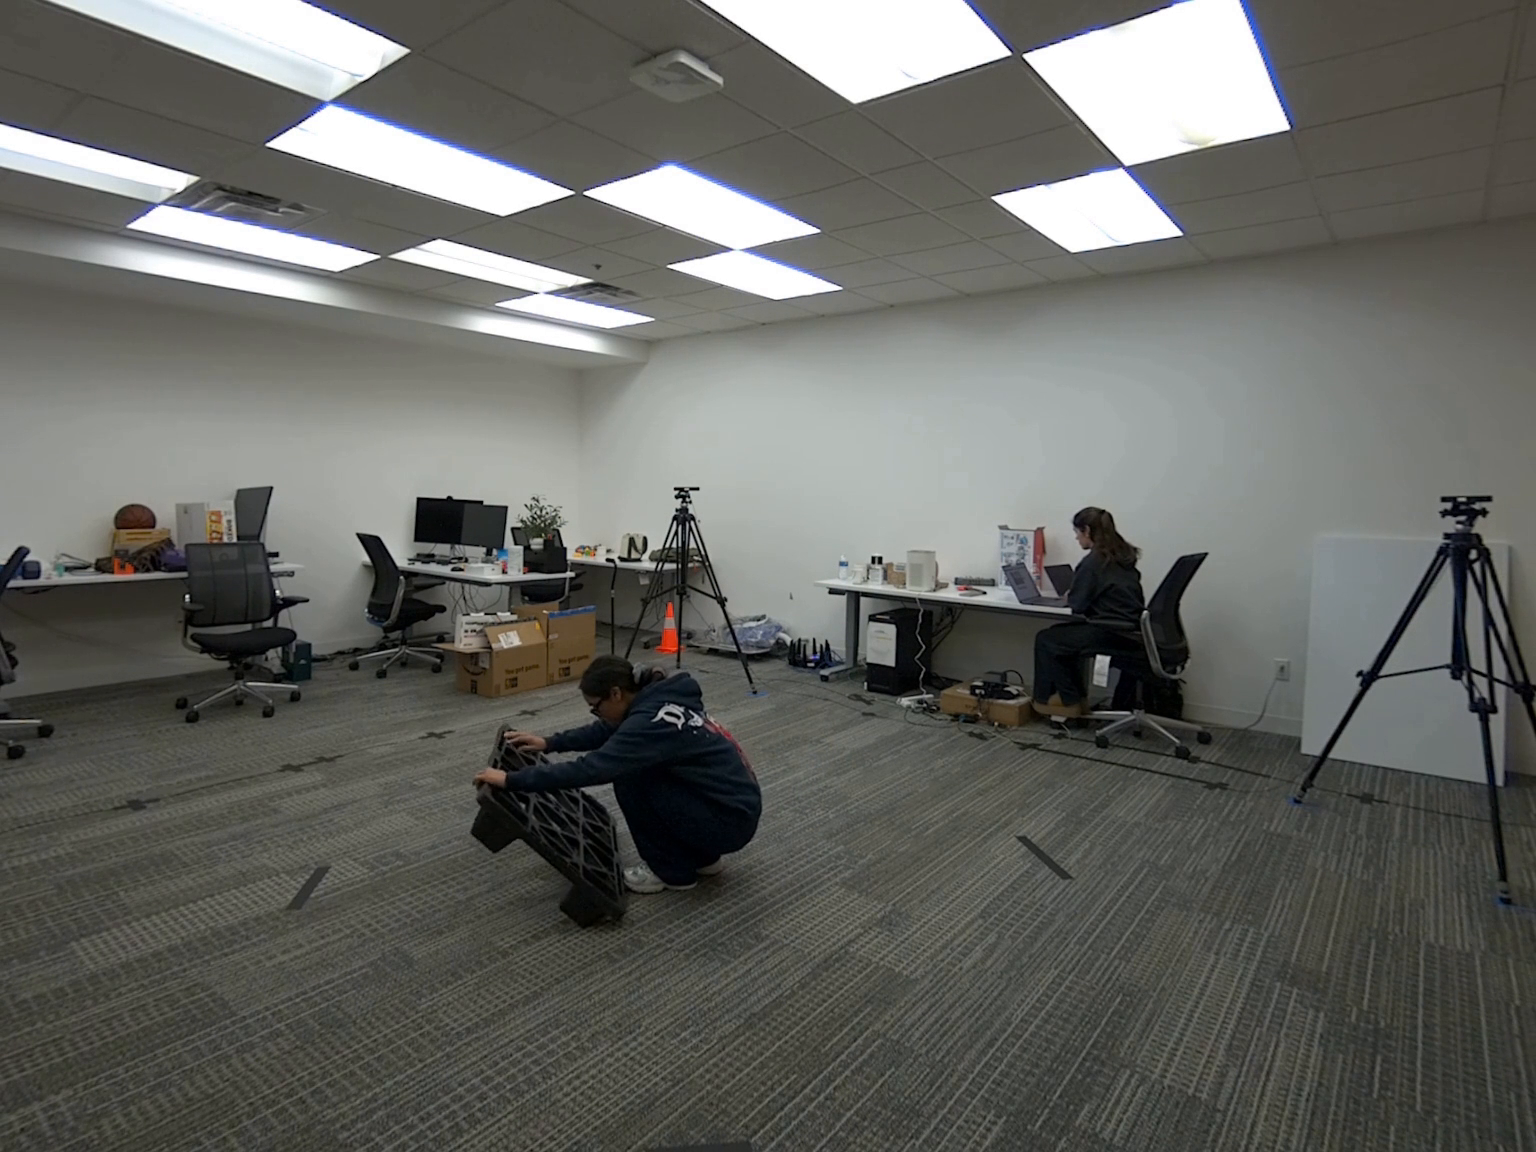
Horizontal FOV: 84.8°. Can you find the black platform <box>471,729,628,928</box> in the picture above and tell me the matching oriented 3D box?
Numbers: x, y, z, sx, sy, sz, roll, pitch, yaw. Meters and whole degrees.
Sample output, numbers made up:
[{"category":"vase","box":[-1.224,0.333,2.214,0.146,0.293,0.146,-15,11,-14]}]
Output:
[{"category":"black platform","box":[-0.797,0.862,2.998,0.596,0.143,0.818,45,-5,-12]}]
